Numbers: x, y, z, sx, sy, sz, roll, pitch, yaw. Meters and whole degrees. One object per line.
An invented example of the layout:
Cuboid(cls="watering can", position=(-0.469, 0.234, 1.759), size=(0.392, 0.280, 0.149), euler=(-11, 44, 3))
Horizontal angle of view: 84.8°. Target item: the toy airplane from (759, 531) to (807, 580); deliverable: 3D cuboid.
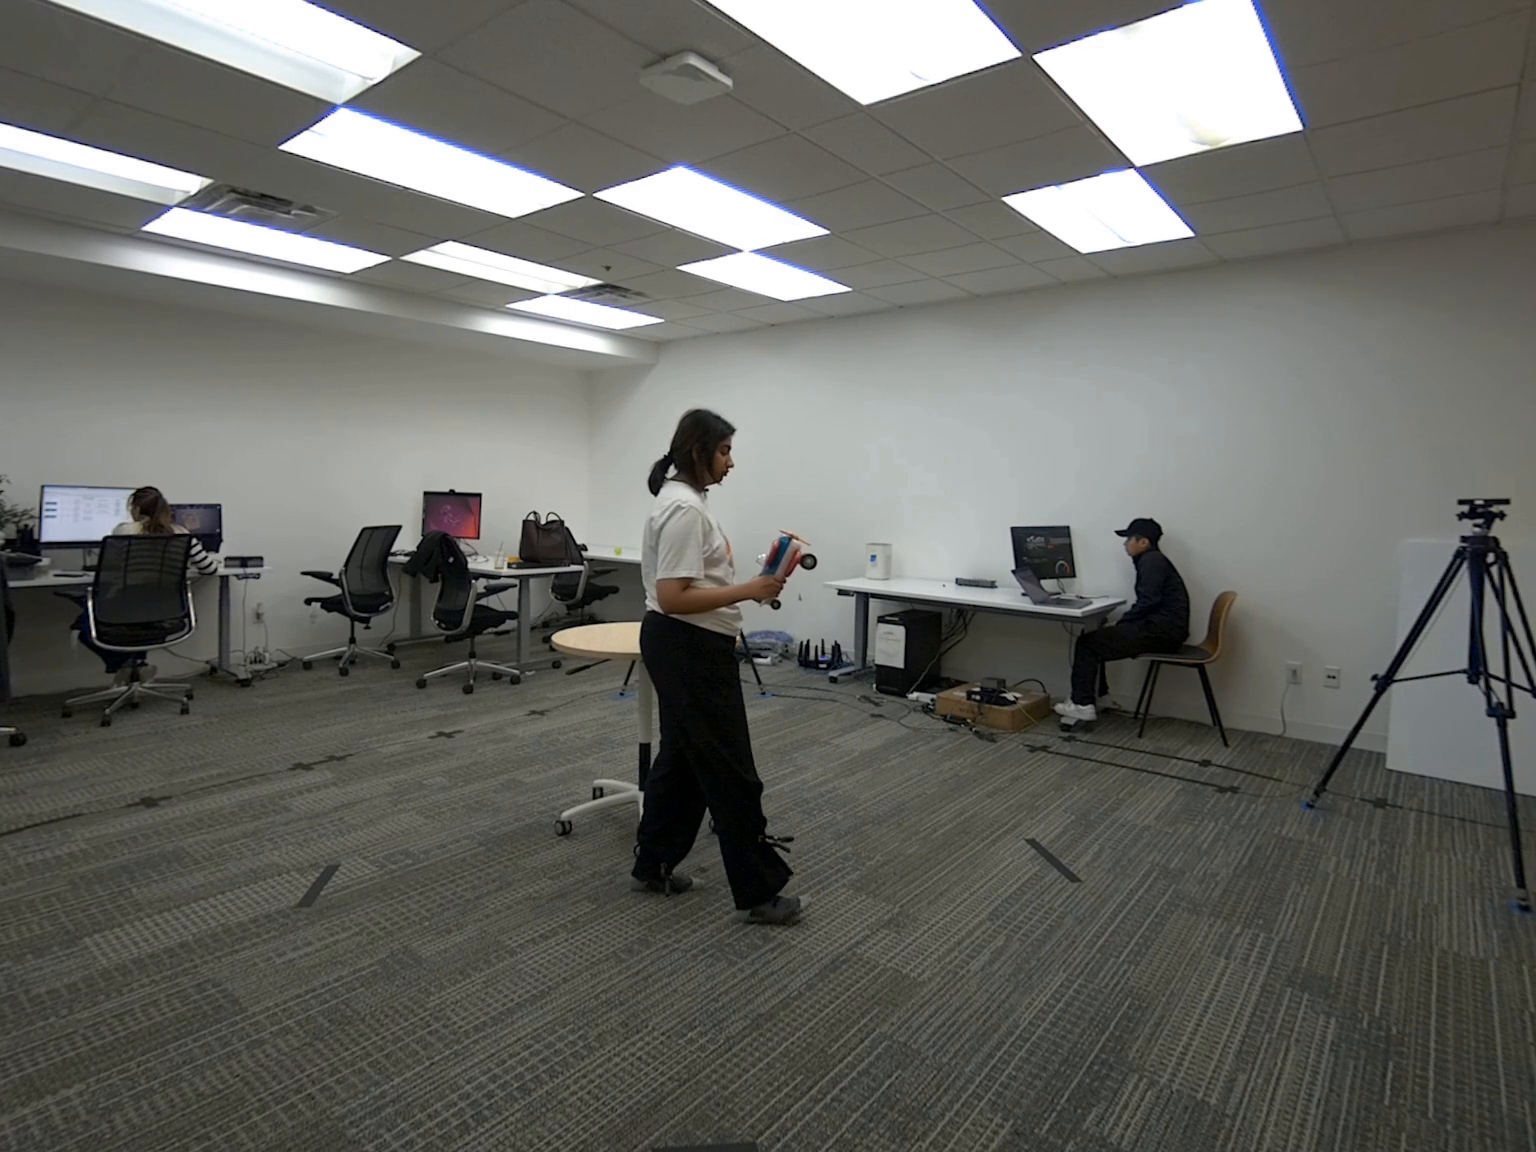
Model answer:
Cuboid(cls="toy airplane", position=(0.037, -0.020, 2.767), size=(0.156, 0.259, 0.251), euler=(40, -27, -2))
